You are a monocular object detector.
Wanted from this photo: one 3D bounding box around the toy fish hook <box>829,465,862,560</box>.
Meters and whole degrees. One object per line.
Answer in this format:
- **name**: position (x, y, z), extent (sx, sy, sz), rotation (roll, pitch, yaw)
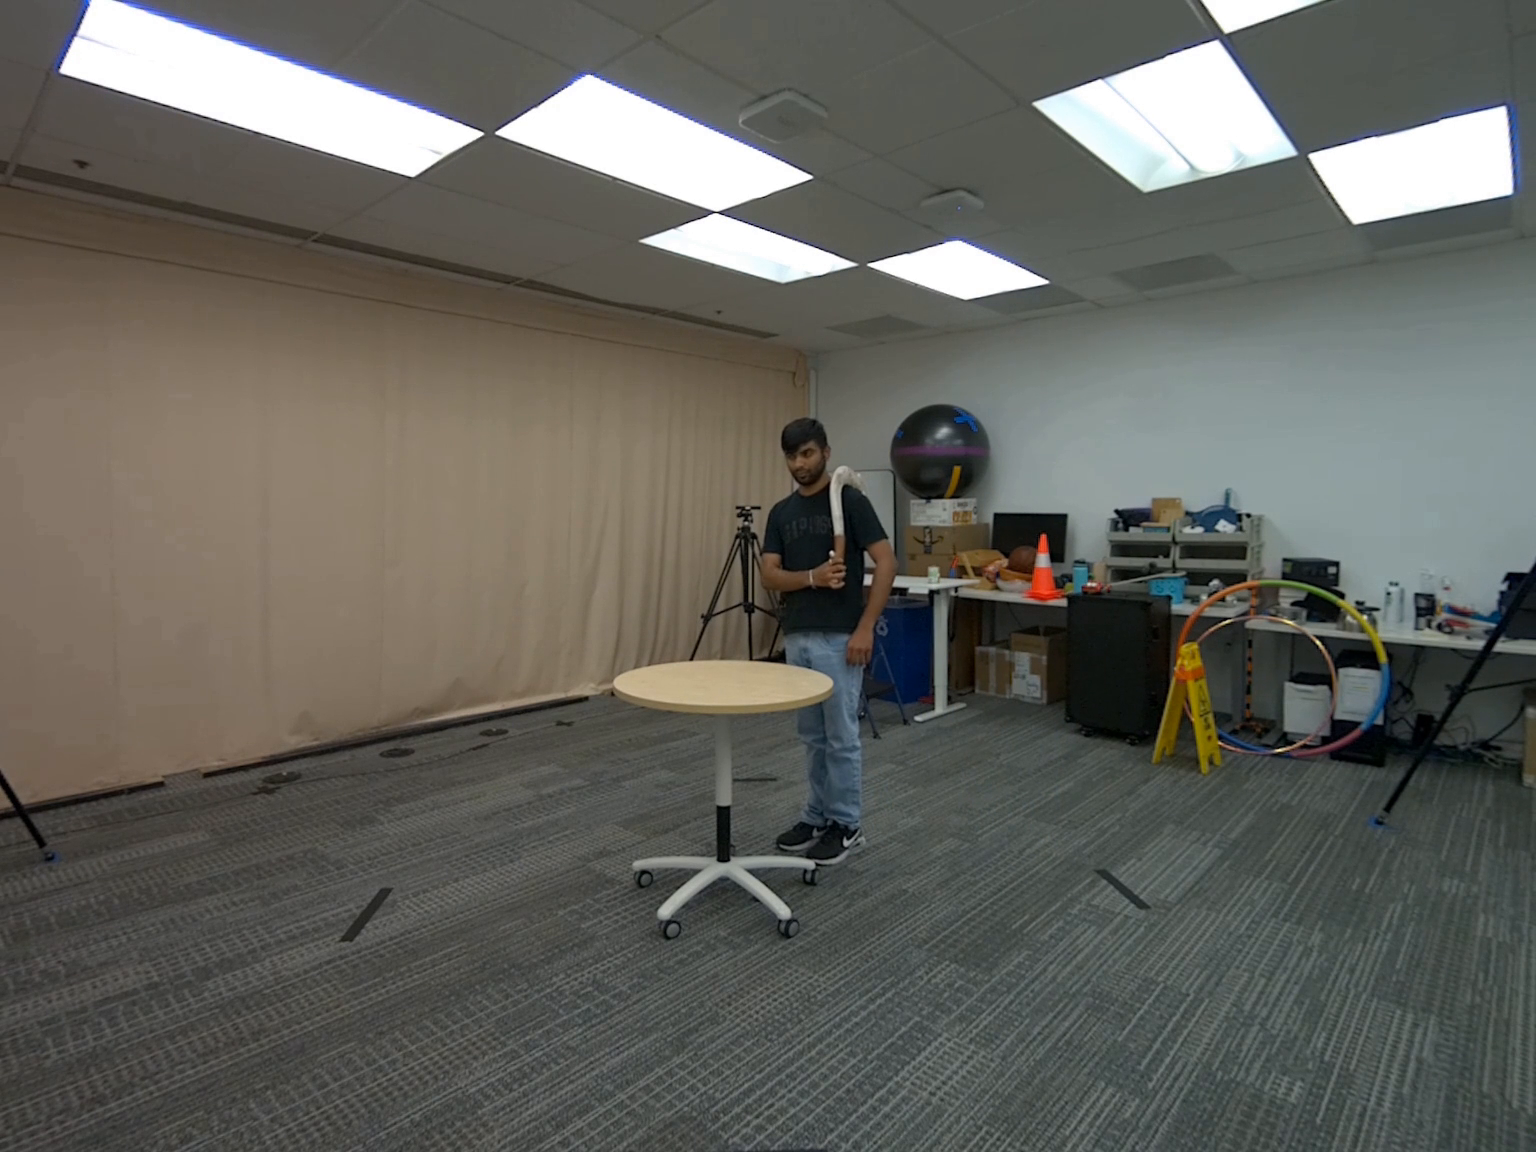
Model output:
- **toy fish hook**: position (0.319, -0.182, 3.280), extent (0.217, 0.512, 0.049), rotation (20, -25, -34)
